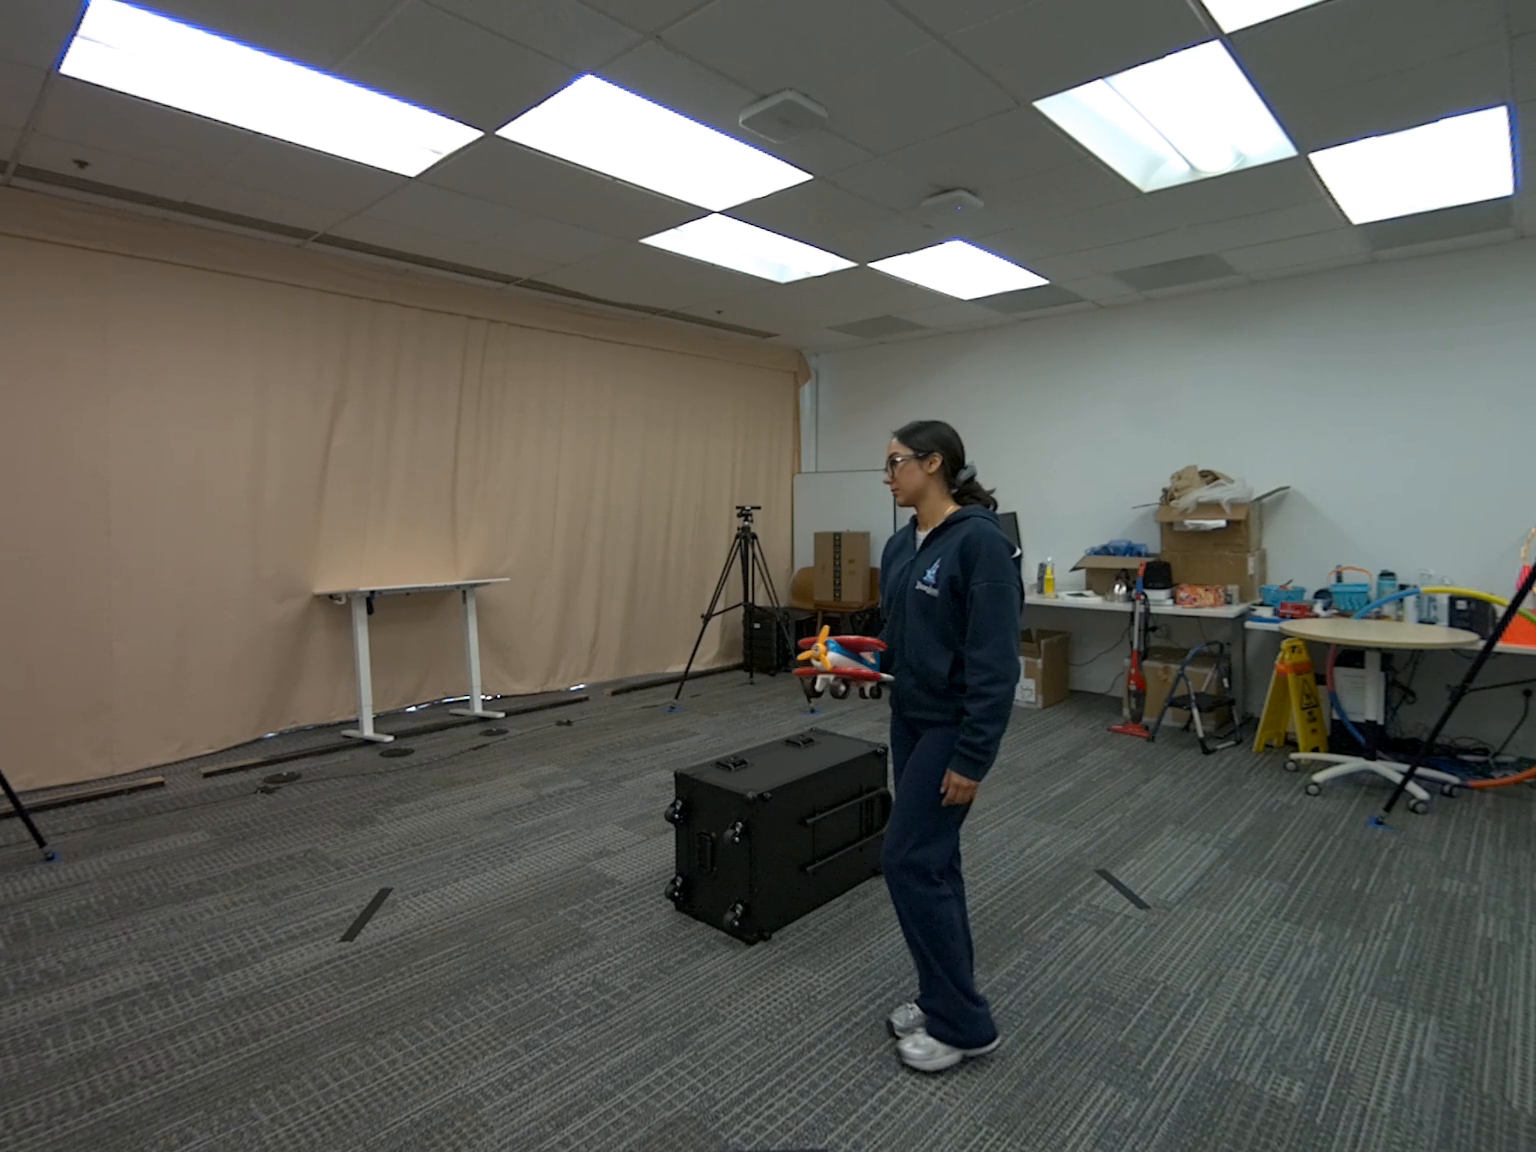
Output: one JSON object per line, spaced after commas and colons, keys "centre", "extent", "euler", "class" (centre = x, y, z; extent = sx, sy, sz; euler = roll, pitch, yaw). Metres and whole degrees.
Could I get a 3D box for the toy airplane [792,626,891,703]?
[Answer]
{"centre": [0.207, 0.238, 2.162], "extent": [0.255, 0.157, 0.253], "euler": [-2, -9, 16], "class": "toy airplane"}
